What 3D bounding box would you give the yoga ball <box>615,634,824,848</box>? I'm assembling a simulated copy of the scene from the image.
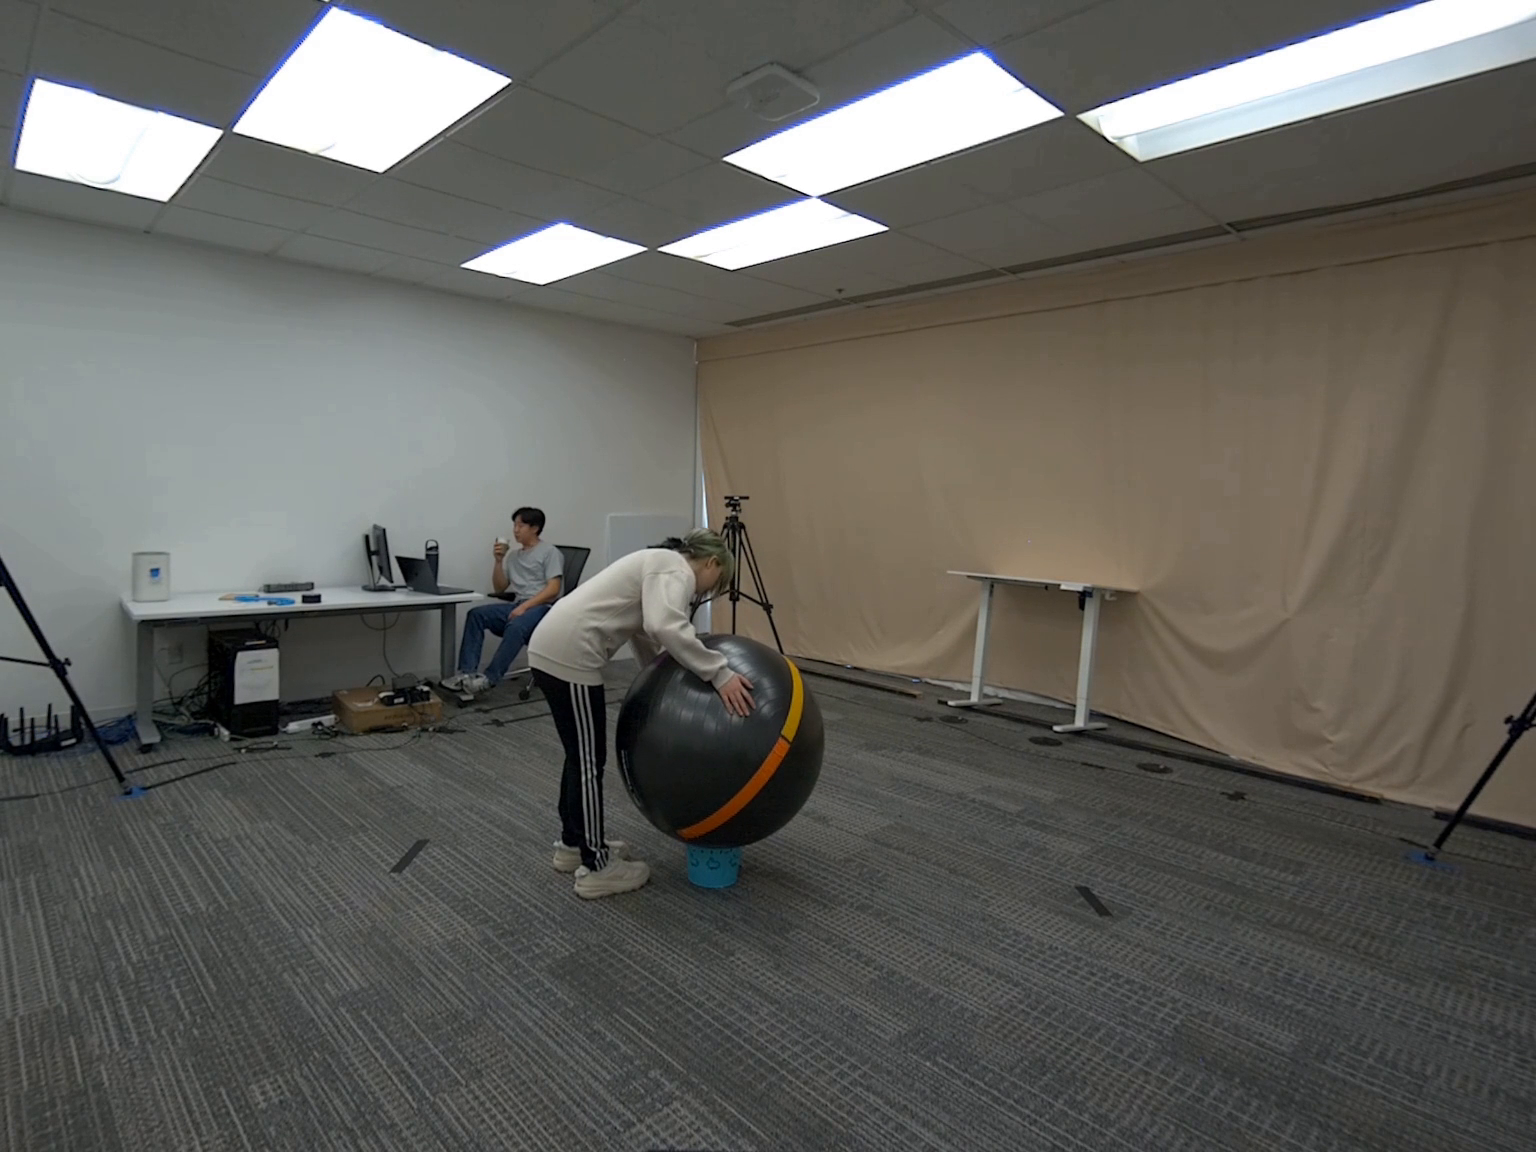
[{"bbox_3d":[-0.182,0.597,3.066,0.757,0.756,0.761,1,4,-1],"label":"yoga ball"}]
